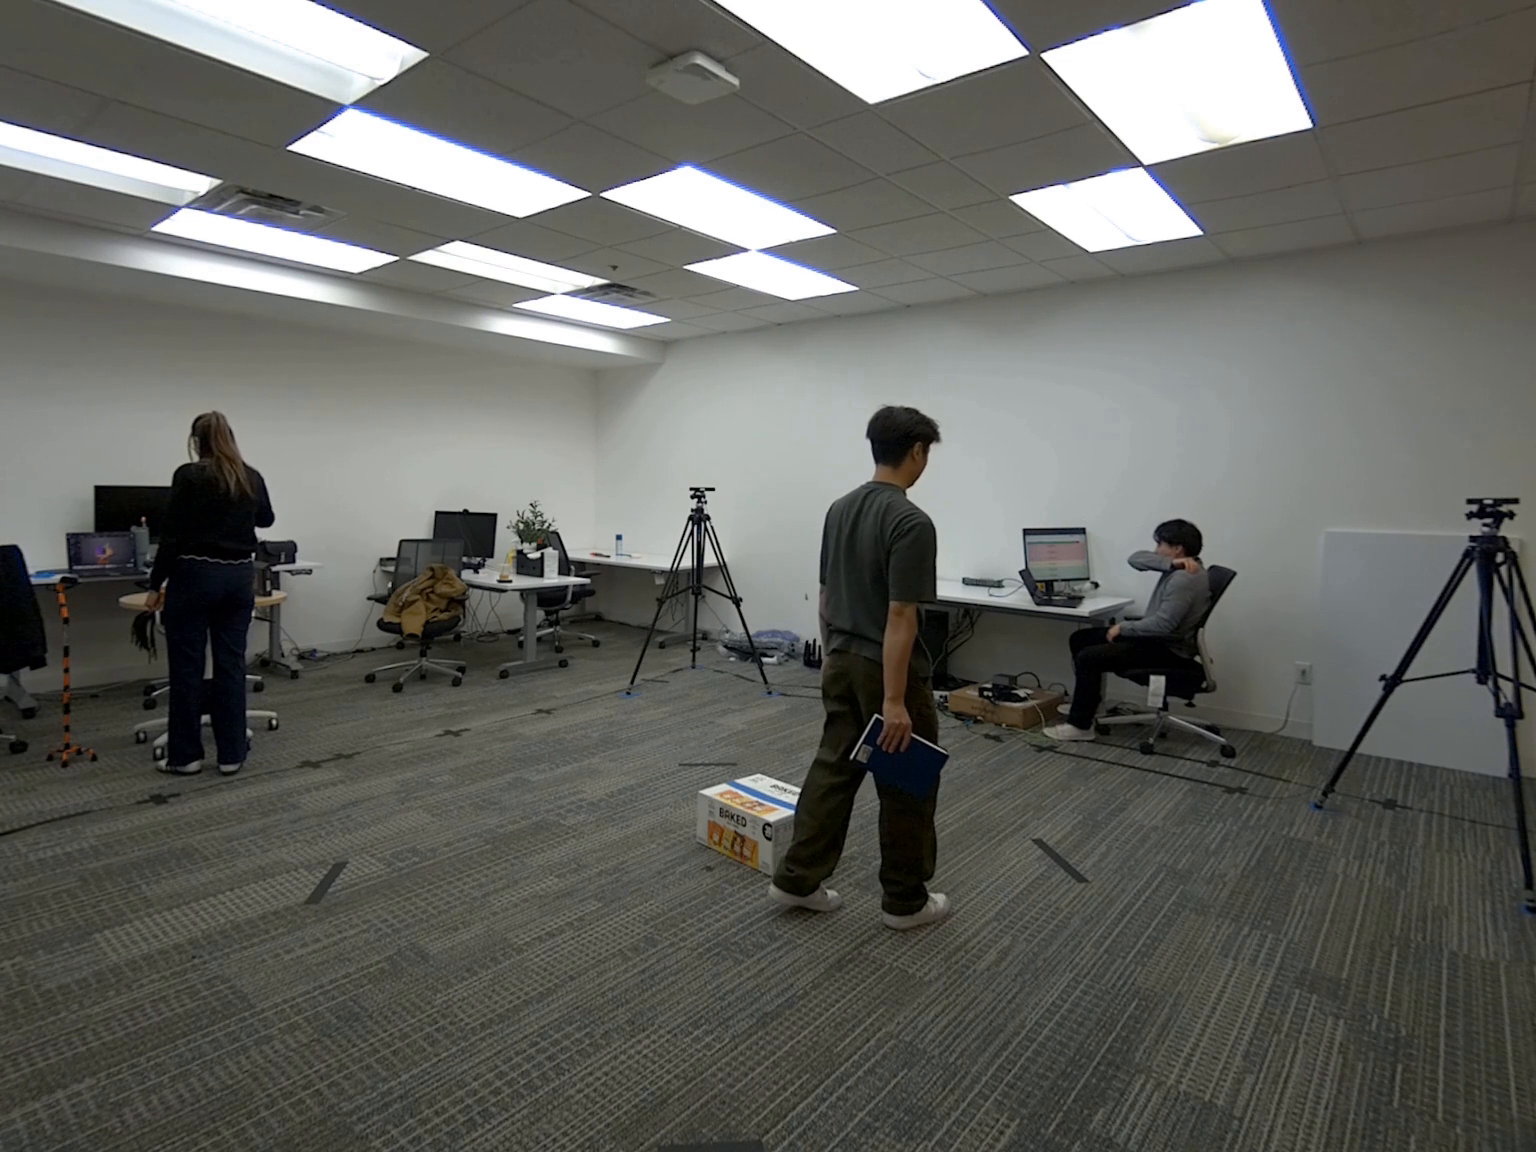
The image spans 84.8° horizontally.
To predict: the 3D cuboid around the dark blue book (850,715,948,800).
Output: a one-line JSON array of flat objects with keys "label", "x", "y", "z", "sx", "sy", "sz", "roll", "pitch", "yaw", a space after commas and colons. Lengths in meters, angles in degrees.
[{"label": "dark blue book", "x": 0.400, "y": 0.533, "z": 2.545, "sx": 0.246, "sy": 0.163, "sz": 0.045, "roll": 27, "pitch": 7, "yaw": 3}]
